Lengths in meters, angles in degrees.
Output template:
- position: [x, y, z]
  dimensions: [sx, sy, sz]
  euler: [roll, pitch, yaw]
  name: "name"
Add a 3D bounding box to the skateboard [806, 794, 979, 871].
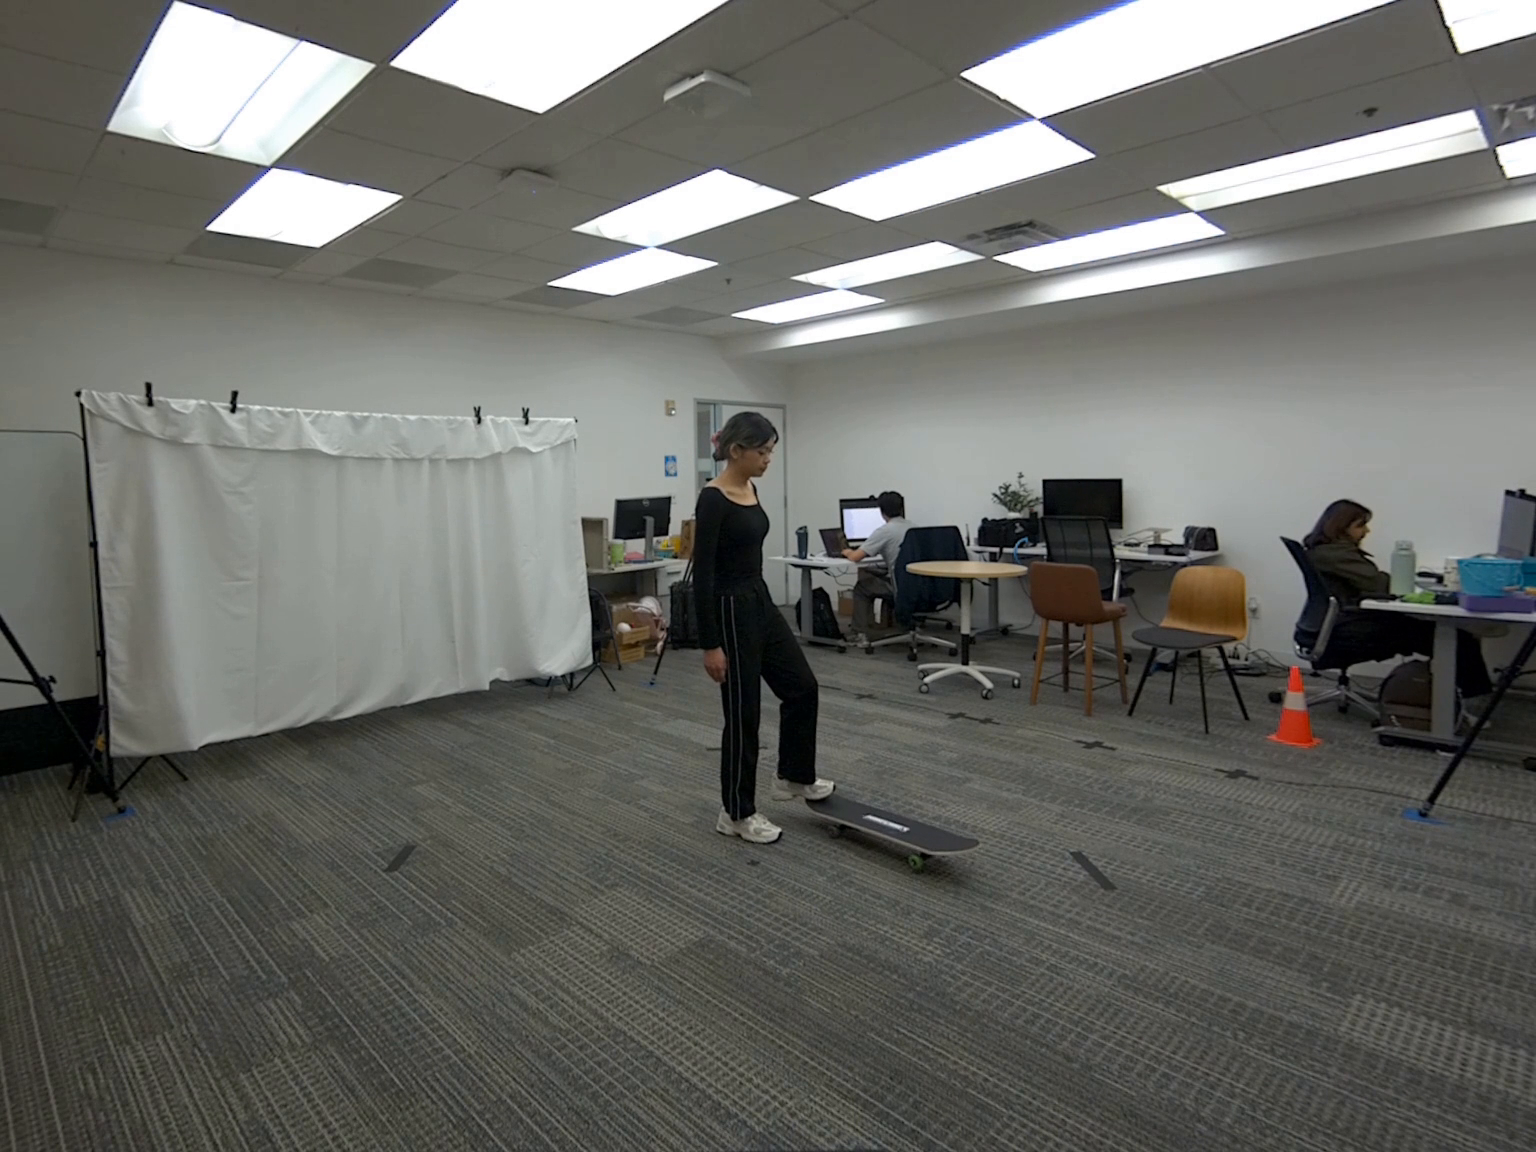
- position: [0.453, 0.966, 3.201]
  dimensions: [0.188, 0.110, 0.808]
  euler: [-7, 5, -39]
  name: "skateboard"
